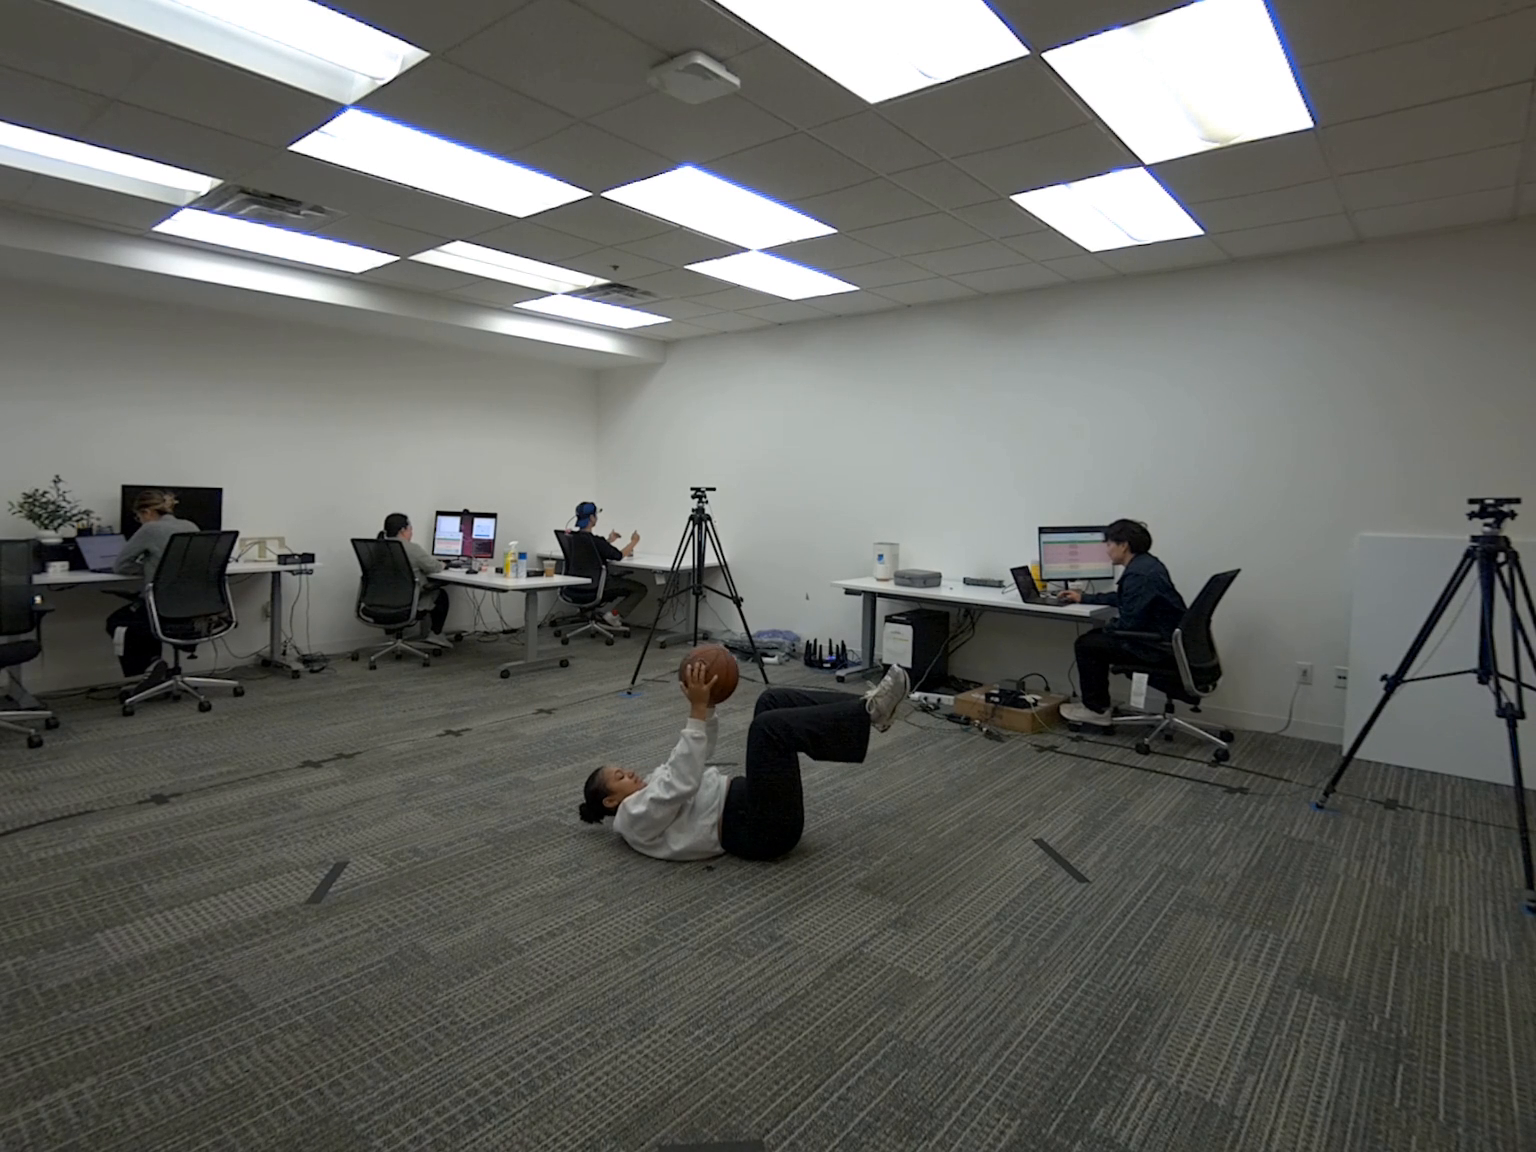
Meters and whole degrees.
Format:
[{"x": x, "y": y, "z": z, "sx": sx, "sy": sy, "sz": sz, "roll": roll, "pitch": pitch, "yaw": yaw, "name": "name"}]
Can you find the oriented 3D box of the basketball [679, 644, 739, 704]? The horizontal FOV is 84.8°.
[{"x": -0.249, "y": 0.385, "z": 3.340, "sx": 0.236, "sy": 0.235, "sz": 0.237, "roll": 0, "pitch": 4, "yaw": -2, "name": "basketball"}]
